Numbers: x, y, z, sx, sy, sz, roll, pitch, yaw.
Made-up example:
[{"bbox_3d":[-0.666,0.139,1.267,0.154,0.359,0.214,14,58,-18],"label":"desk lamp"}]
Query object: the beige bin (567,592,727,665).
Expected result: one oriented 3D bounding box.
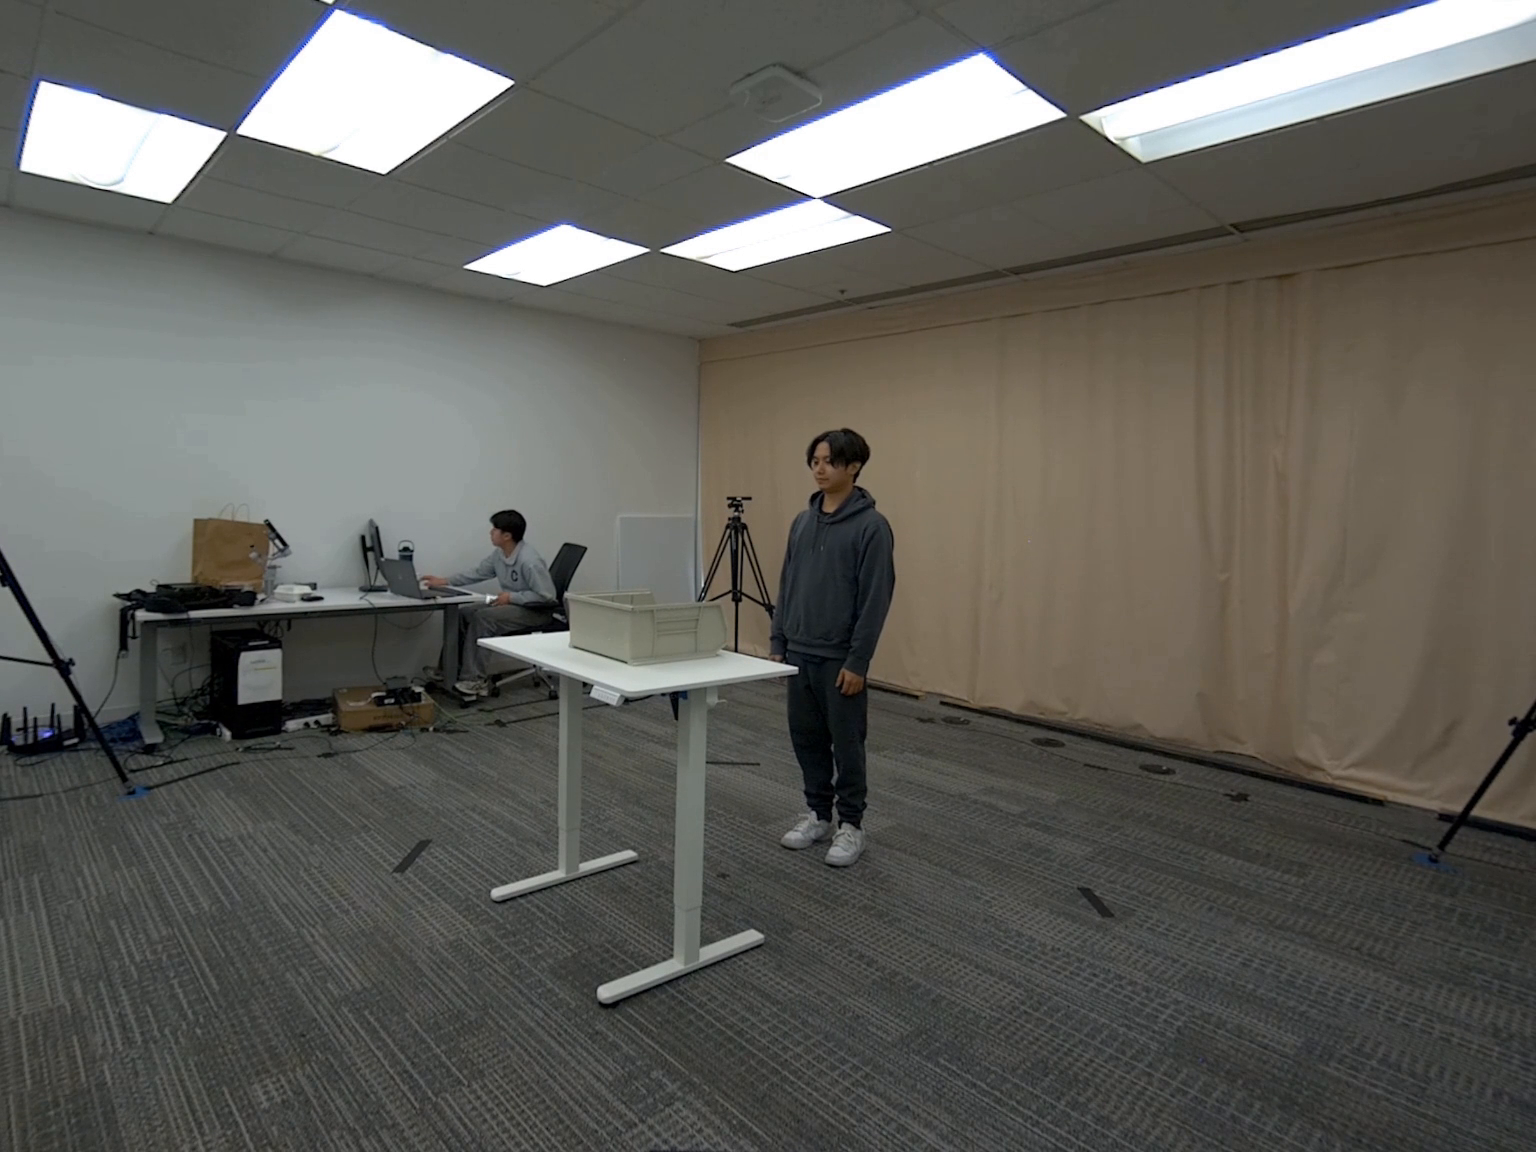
[{"bbox_3d":[-0.408,0.162,2.758,0.369,0.188,0.433,-3,6,-40],"label":"beige bin"}]
